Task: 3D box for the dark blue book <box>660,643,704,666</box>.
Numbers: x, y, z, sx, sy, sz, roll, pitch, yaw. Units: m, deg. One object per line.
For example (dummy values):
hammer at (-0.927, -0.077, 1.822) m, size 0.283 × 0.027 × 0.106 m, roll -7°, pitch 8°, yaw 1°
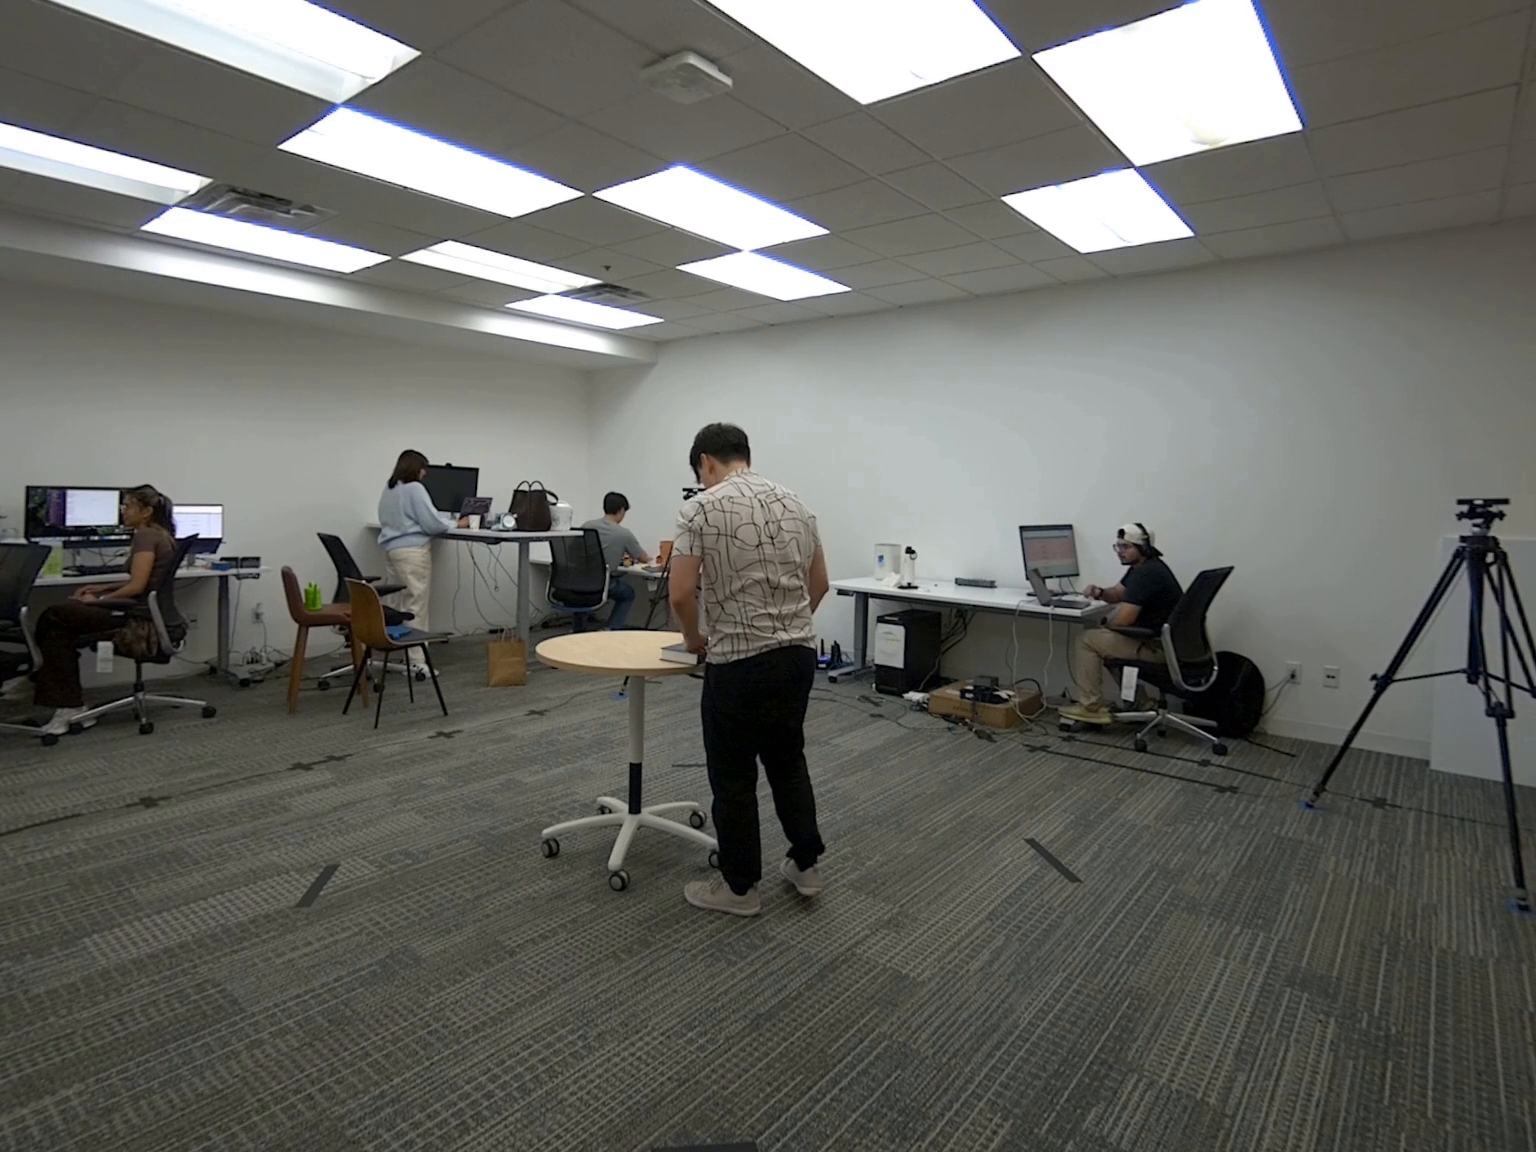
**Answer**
dark blue book at (-0.266, 0.272, 3.077) m, size 0.168 × 0.045 × 0.239 m, roll 5°, pitch 6°, yaw 30°
